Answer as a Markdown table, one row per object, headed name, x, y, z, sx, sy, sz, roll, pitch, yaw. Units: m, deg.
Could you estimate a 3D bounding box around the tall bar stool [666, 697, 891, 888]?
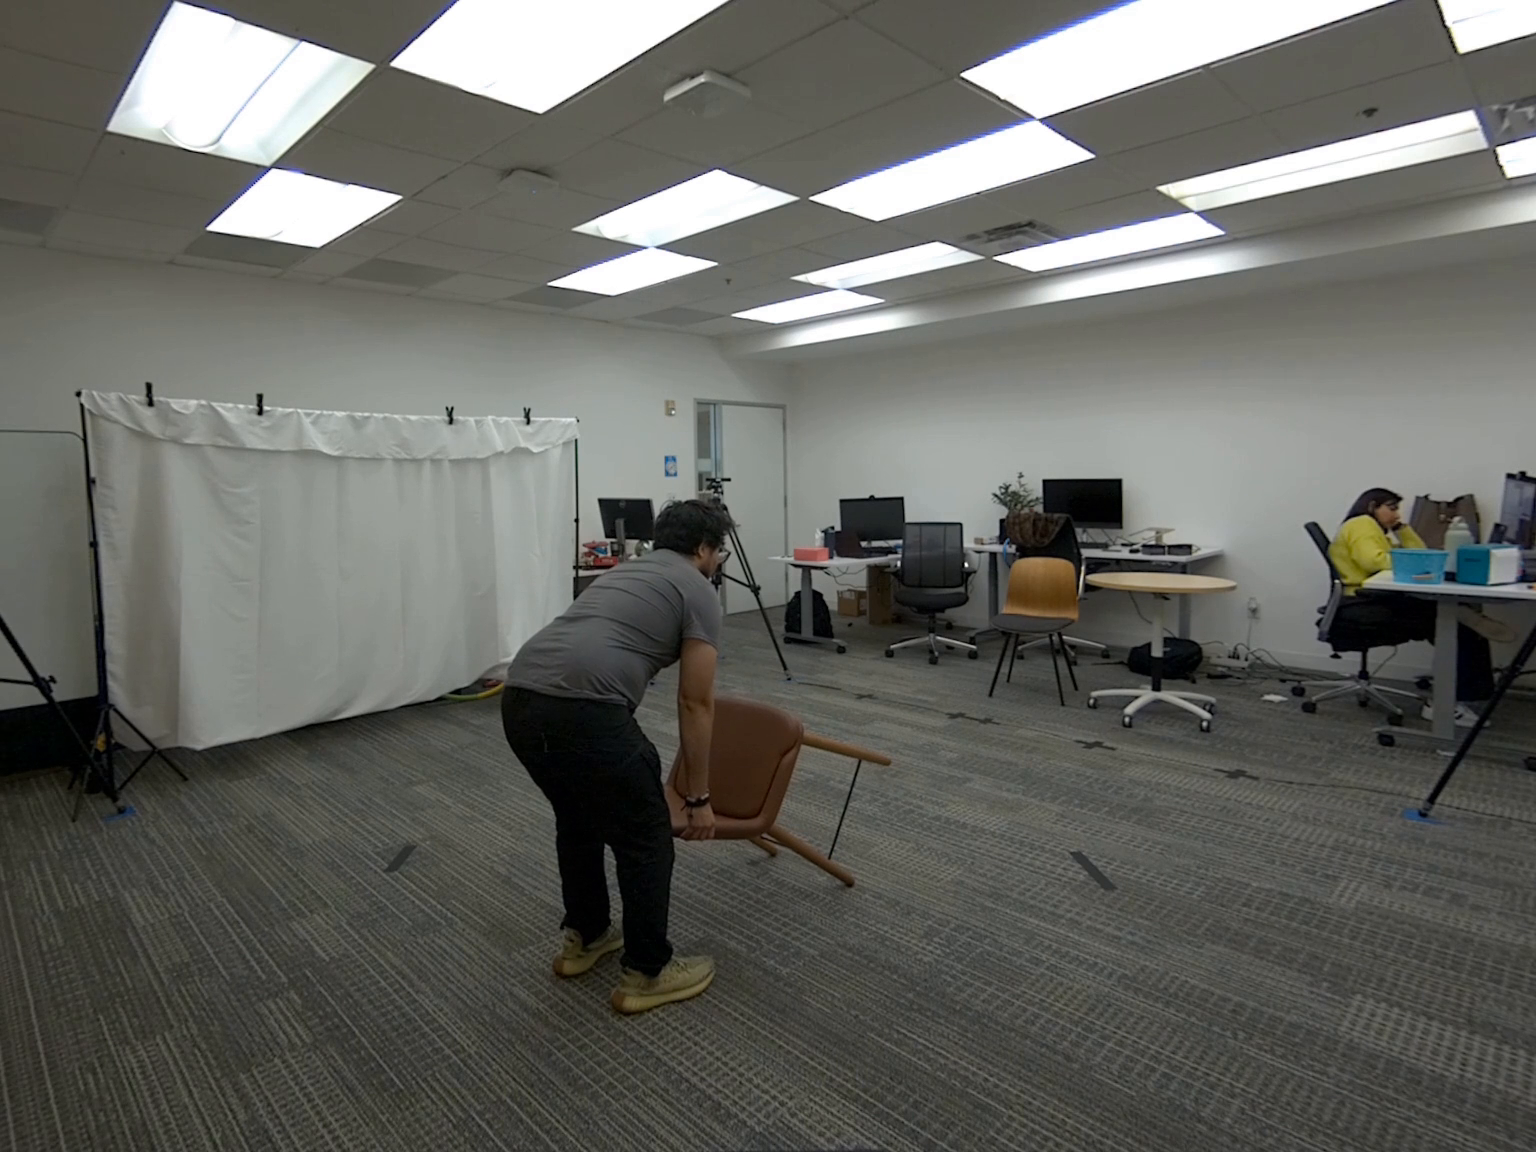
| name | x | y | z | sx | sy | sz | roll | pitch | yaw |
| --- | --- | --- | --- | --- | --- | --- | --- | --- | --- |
| tall bar stool | -0.034 | 0.672 | 2.825 | 0.470 | 0.471 | 0.856 | 4 | -20 | 43 |
